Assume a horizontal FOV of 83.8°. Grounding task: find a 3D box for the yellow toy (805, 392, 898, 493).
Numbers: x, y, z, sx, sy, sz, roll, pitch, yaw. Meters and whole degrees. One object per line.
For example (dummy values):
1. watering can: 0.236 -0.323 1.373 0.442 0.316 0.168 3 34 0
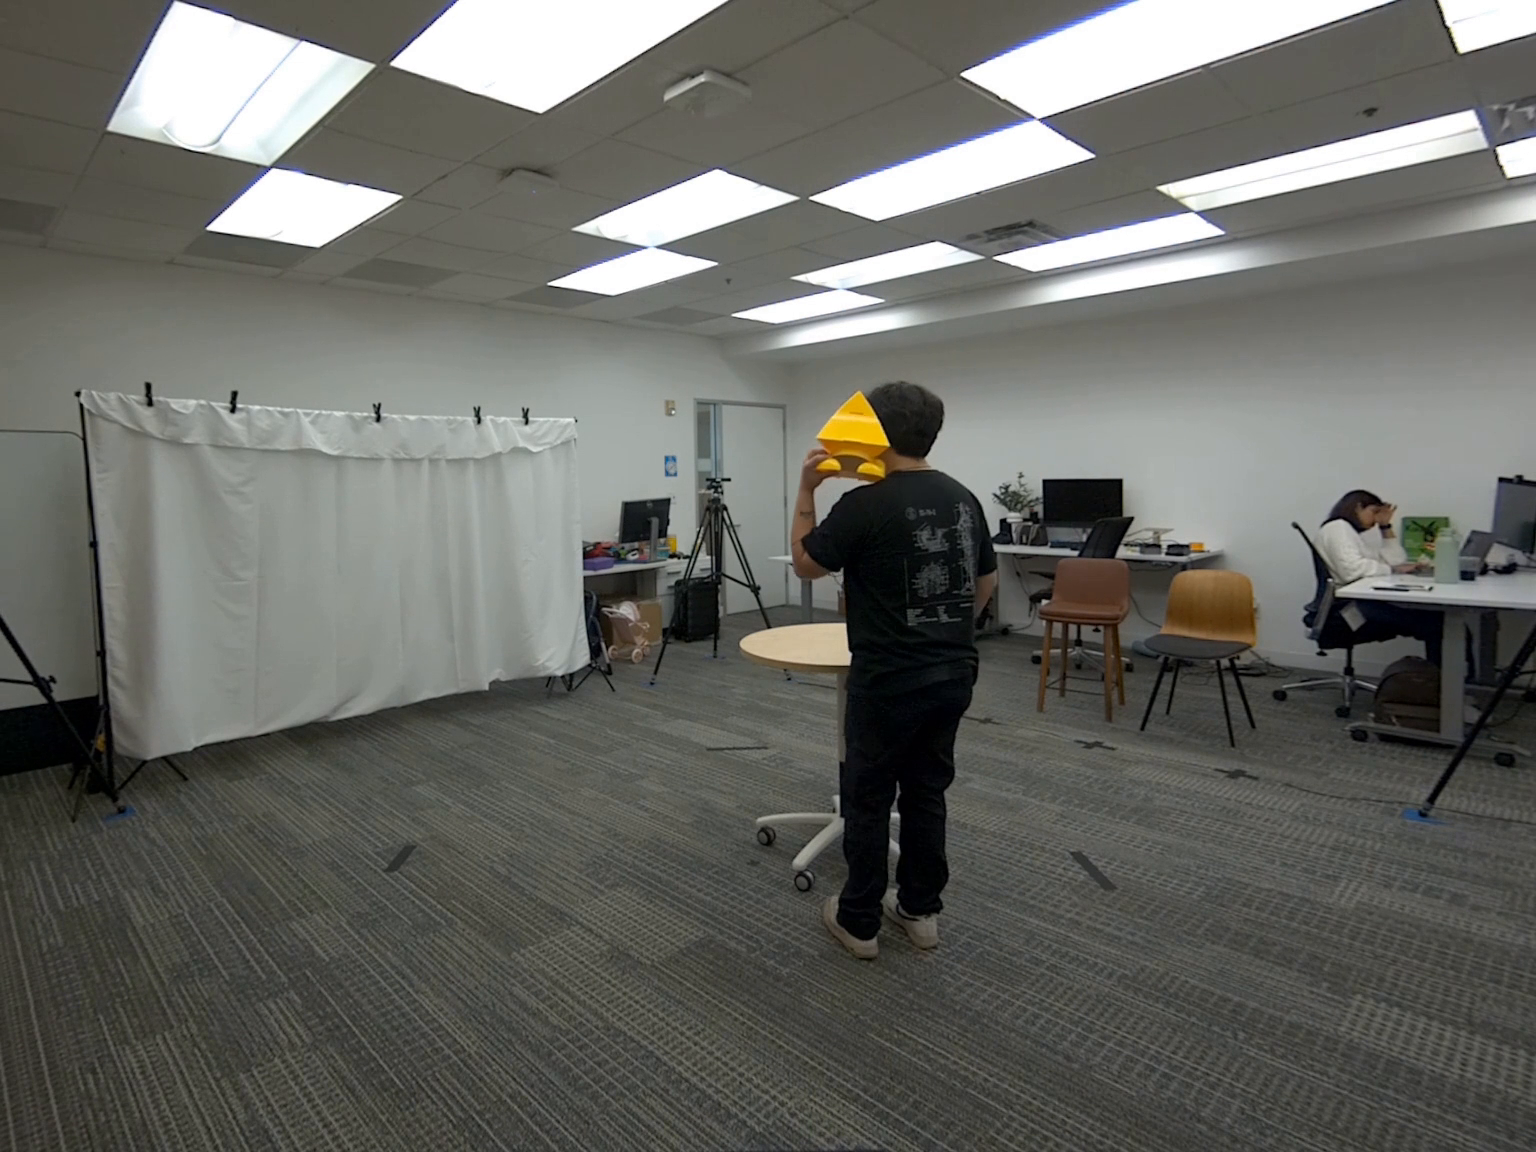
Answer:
1. yellow toy: 0.249 -0.402 2.447 0.206 0.231 0.191 8 -4 6
